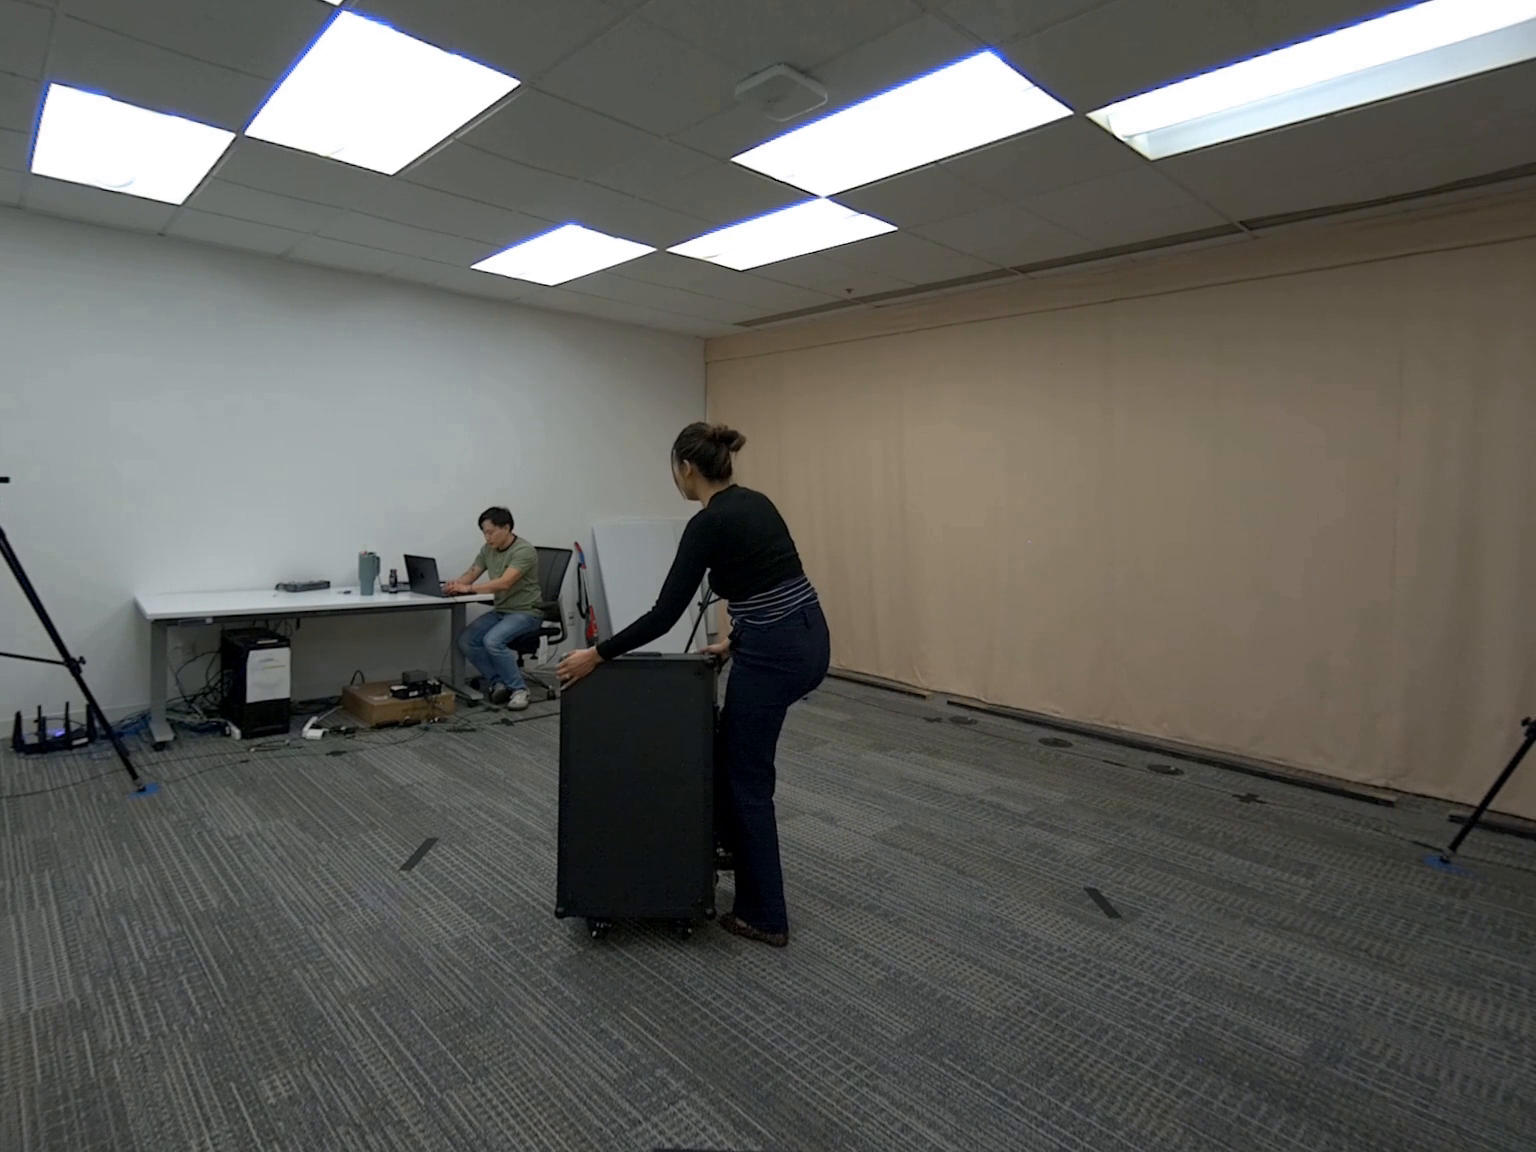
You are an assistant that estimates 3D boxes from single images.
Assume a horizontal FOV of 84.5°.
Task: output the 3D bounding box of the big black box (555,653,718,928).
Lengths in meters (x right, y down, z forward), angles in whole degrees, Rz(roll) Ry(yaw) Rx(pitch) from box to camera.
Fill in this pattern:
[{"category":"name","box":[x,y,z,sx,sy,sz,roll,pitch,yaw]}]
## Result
[{"category":"big black box","box":[-0.421,0.692,2.760,0.521,0.865,0.395,0,-5,0]}]
